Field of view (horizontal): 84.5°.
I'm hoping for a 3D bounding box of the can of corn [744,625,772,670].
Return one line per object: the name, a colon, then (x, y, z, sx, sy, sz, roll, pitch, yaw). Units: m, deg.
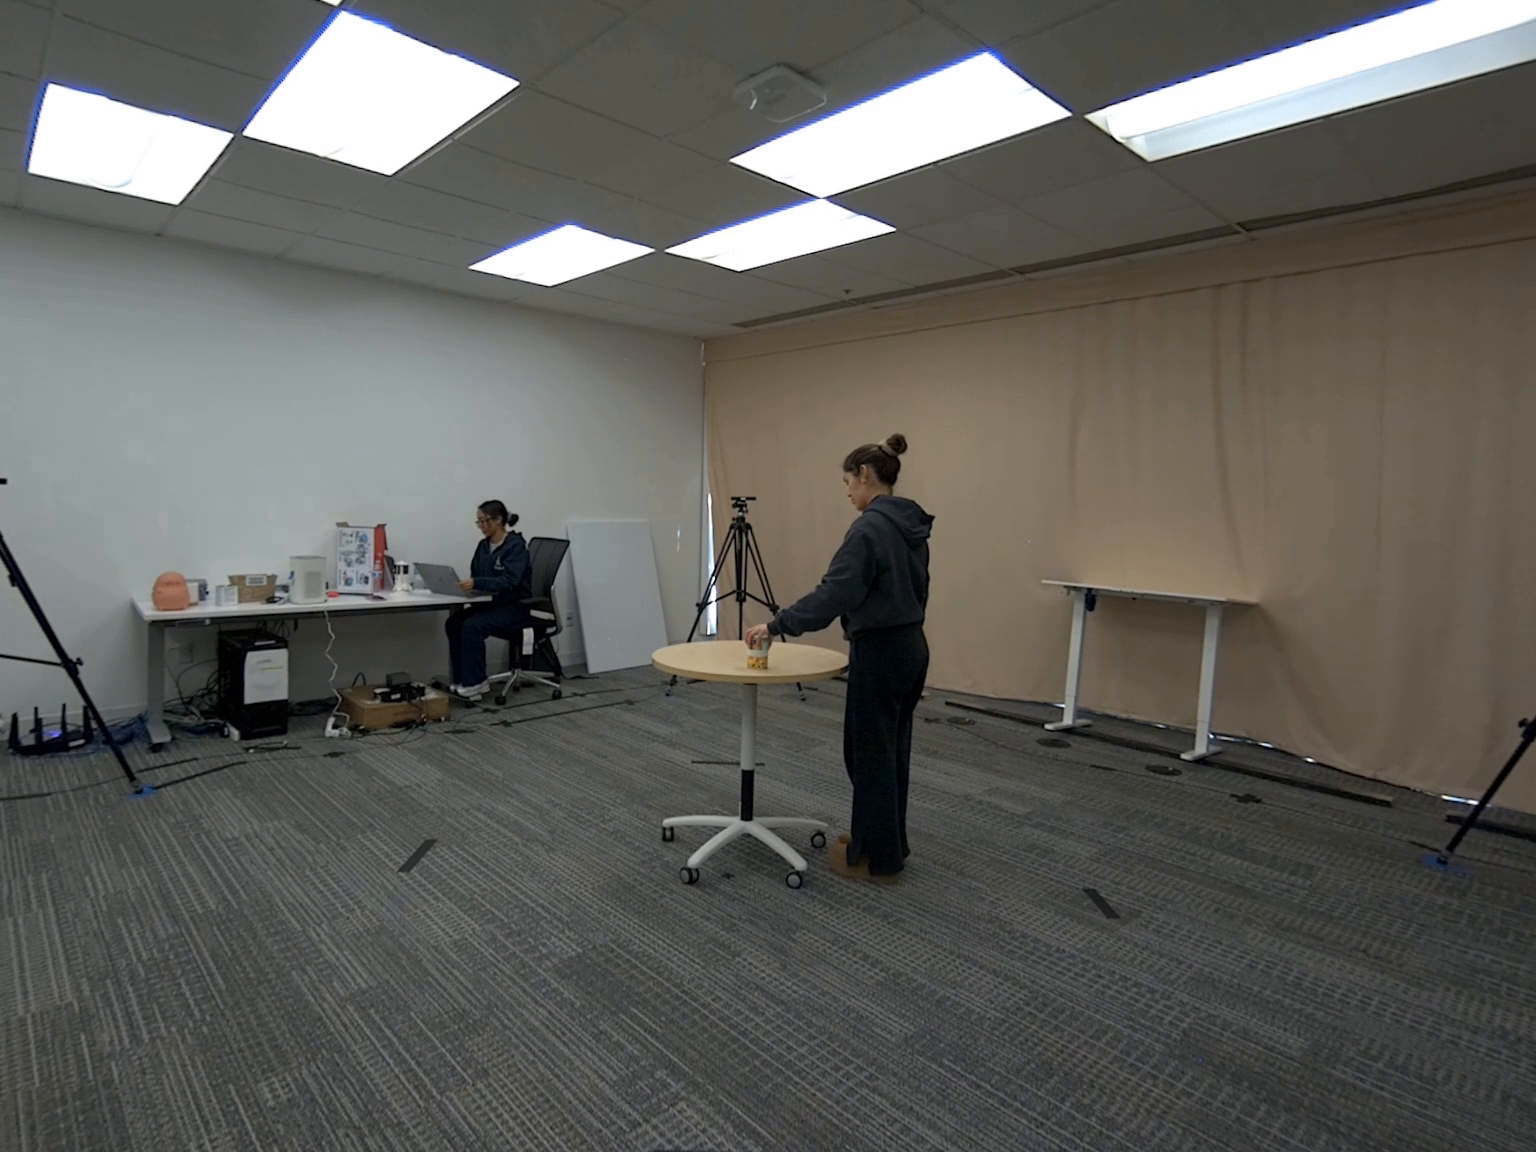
can of corn: (-0.043, 0.271, 3.031, 0.074, 0.110, 0.074, 2, 6, -2)
